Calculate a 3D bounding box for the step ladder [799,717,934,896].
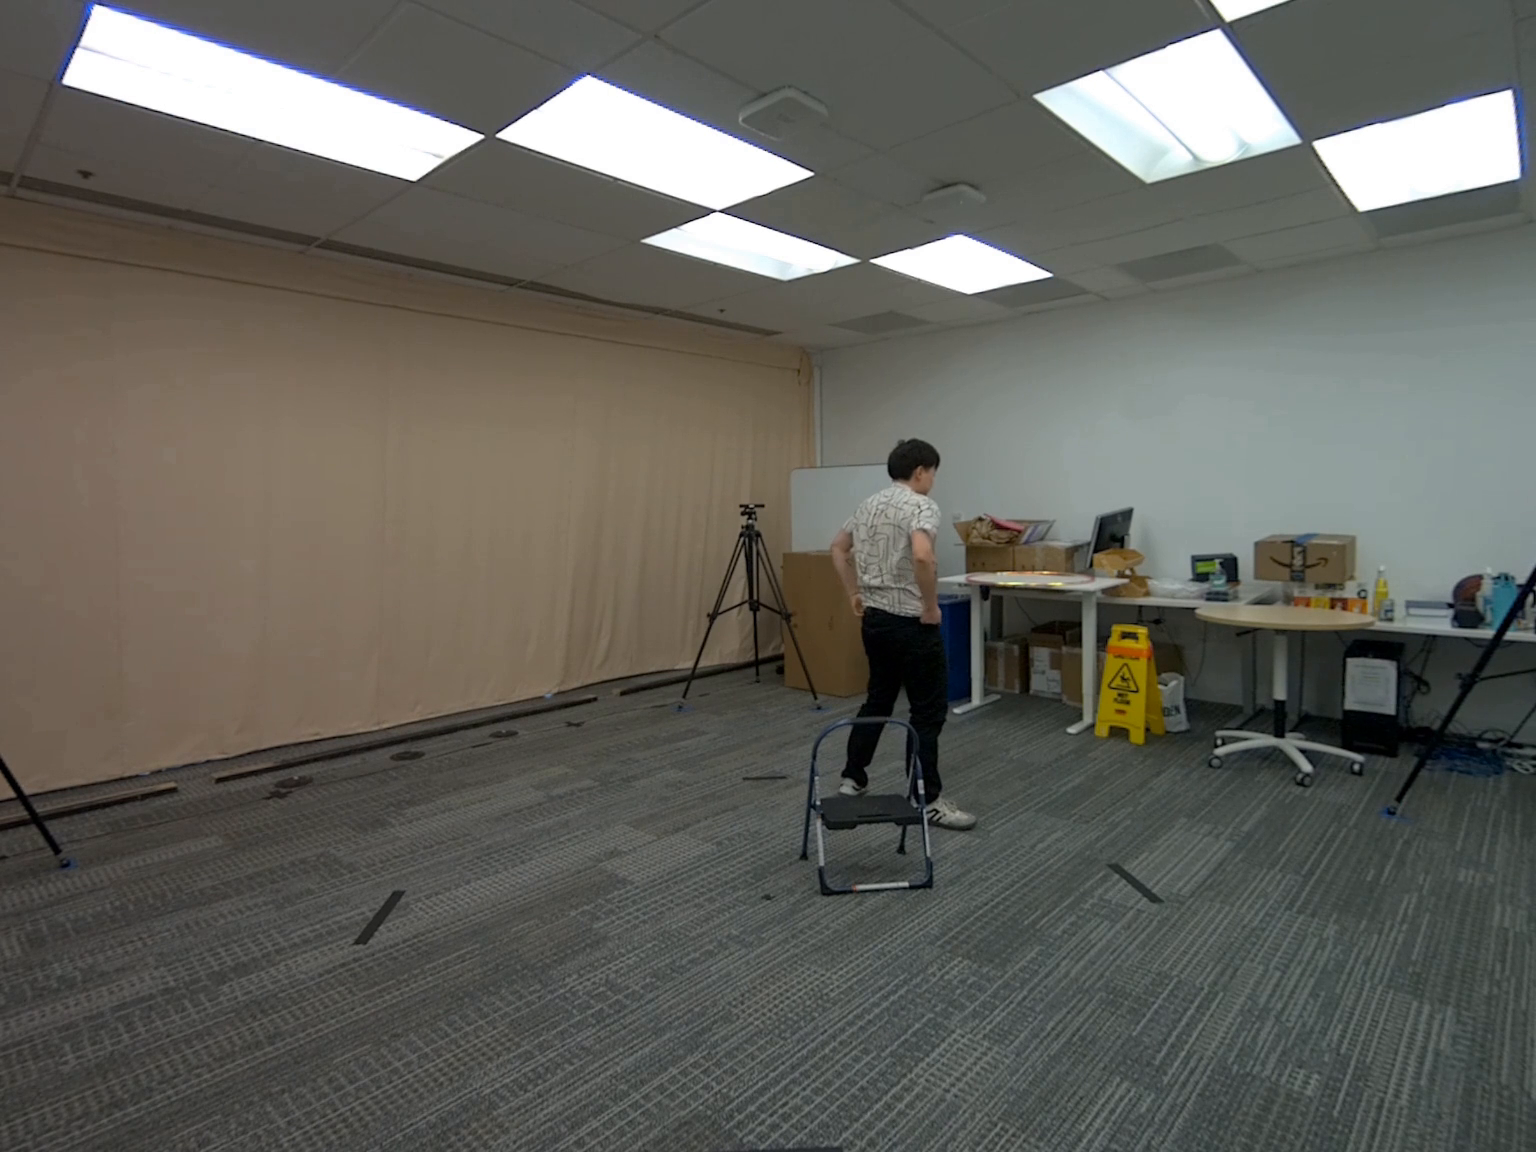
[{"bbox_3d":[0.360,0.816,3.153,0.427,0.605,0.353,-1,4,-9],"label":"step ladder"}]
